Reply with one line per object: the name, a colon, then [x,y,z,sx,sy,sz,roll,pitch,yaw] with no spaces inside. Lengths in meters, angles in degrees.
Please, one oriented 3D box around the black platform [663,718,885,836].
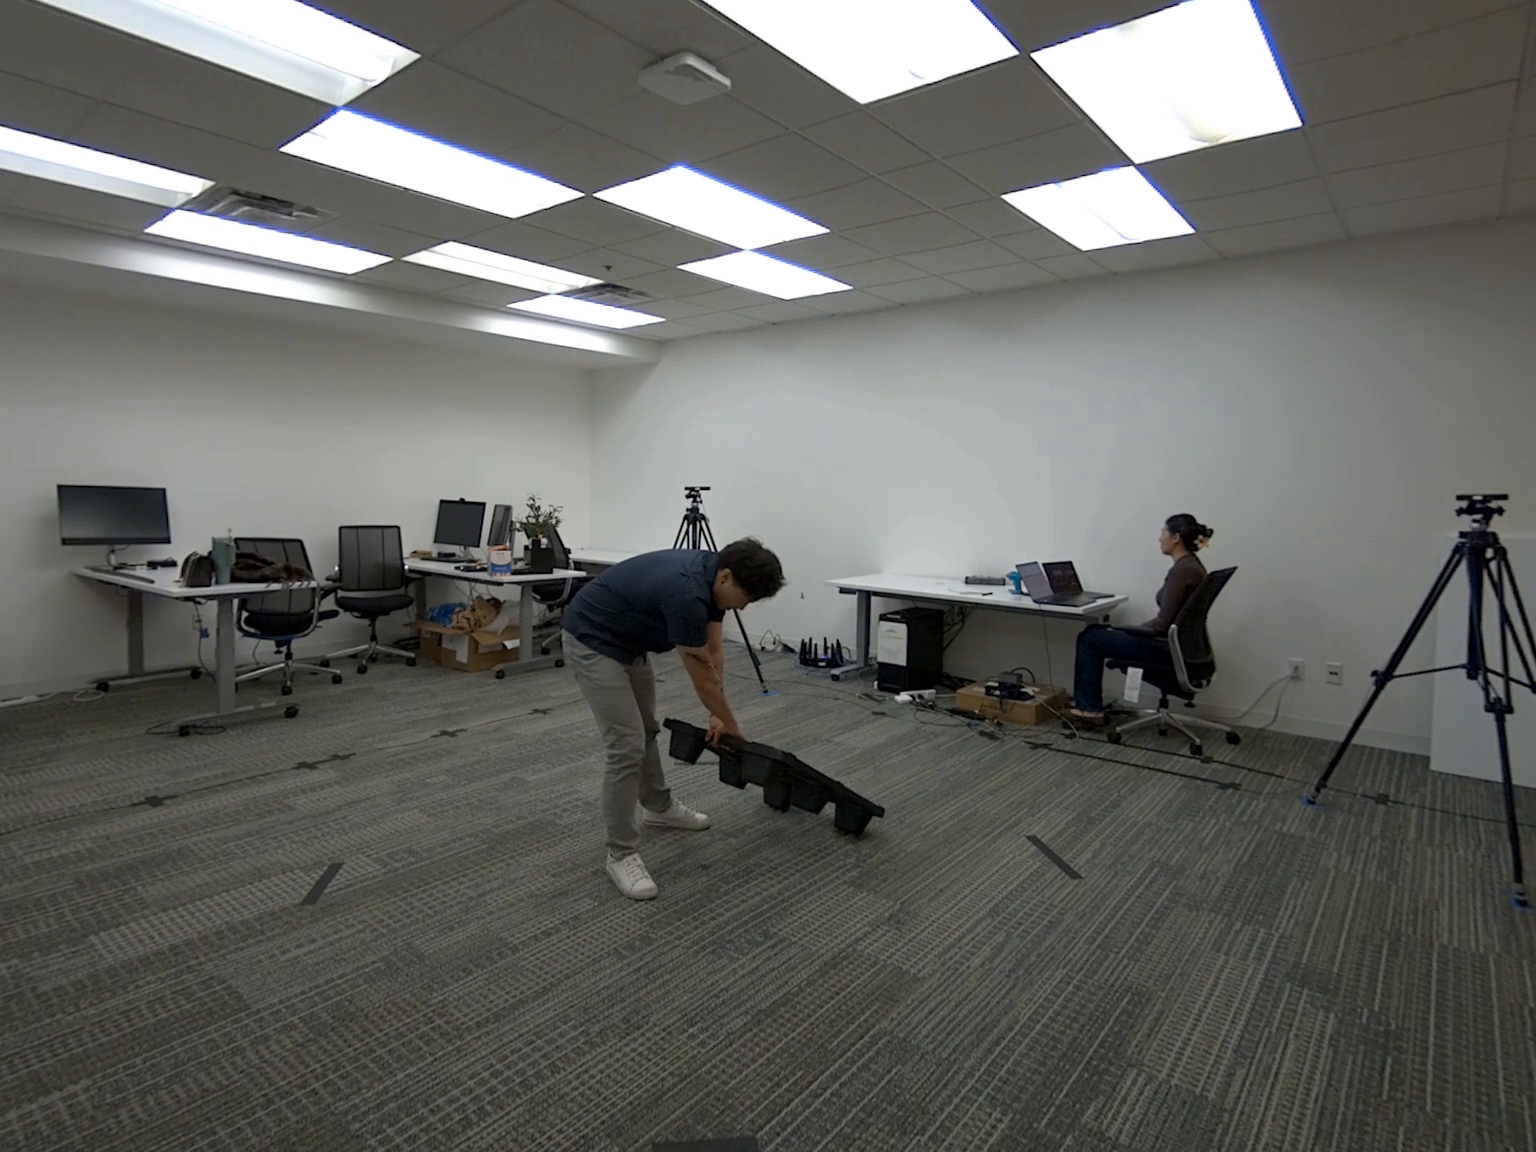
black platform: [0.001,0.804,3.353,0.626,0.144,0.772,5,-25,41]
